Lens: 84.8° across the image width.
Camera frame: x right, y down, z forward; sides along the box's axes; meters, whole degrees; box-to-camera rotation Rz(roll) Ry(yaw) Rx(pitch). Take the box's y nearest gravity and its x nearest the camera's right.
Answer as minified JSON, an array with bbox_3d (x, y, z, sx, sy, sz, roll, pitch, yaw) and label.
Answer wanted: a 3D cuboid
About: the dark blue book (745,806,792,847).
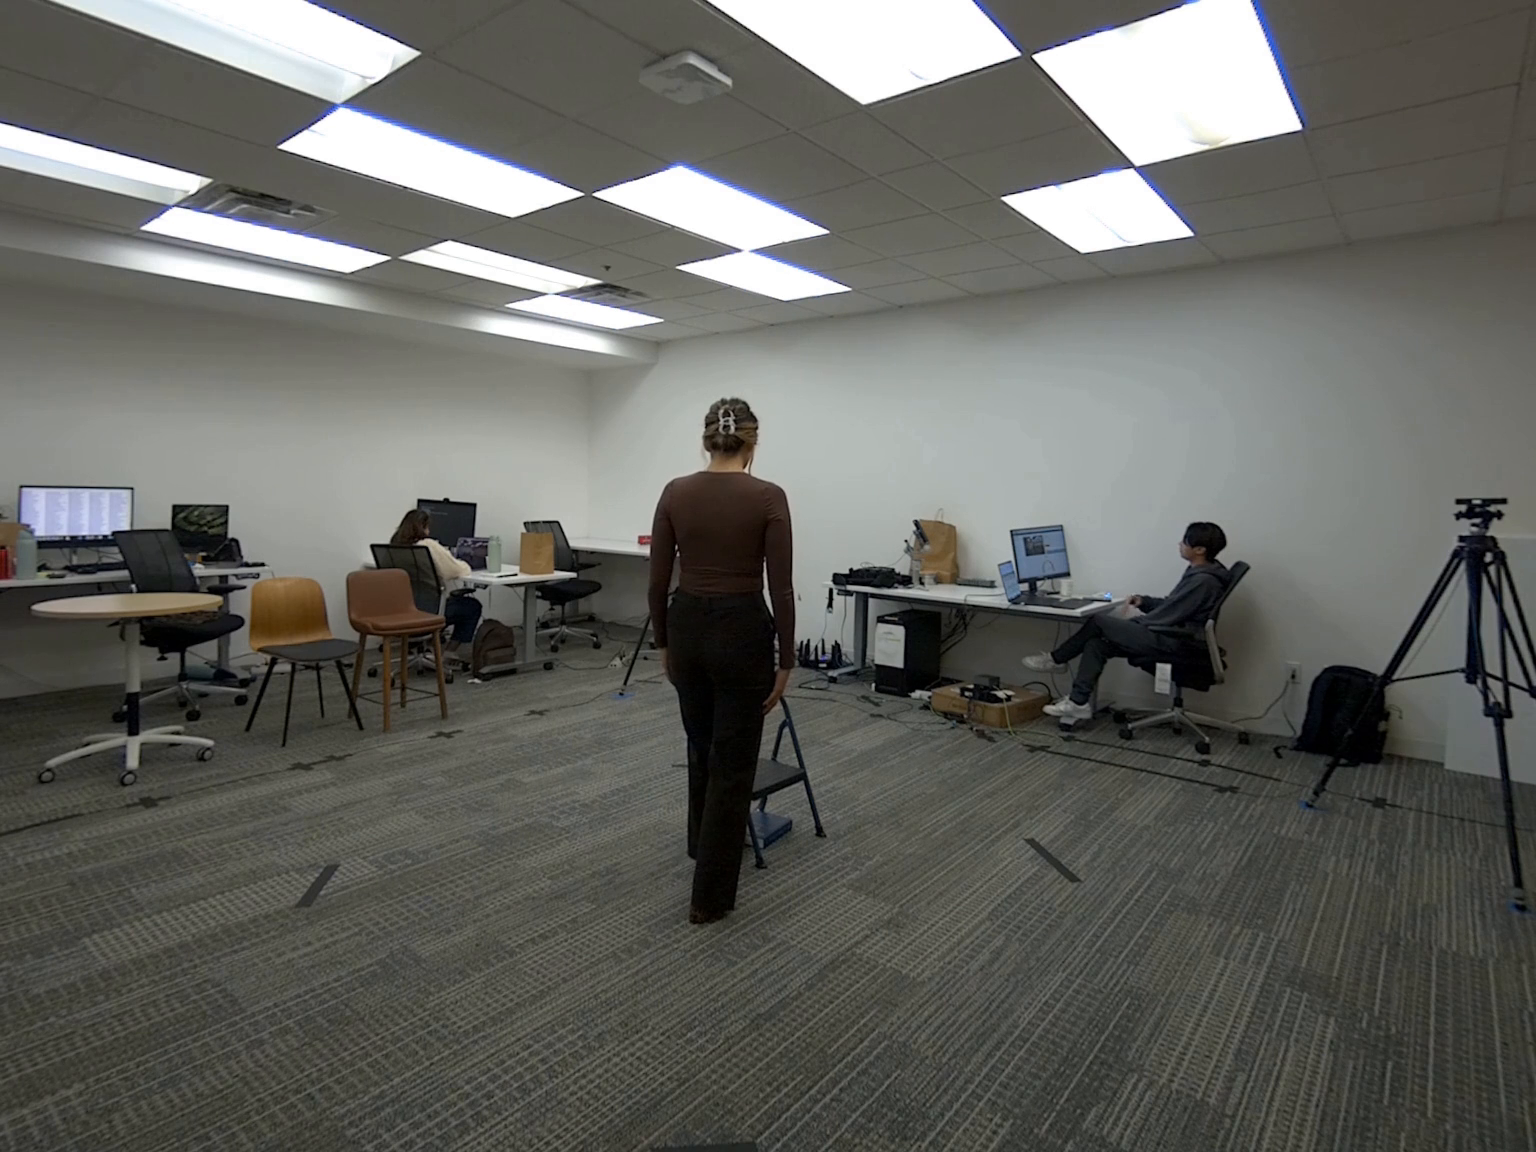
[{"bbox_3d":[-0.035,1.016,3.427,0.168,0.045,0.239,4,7,29],"label":"dark blue book"}]
